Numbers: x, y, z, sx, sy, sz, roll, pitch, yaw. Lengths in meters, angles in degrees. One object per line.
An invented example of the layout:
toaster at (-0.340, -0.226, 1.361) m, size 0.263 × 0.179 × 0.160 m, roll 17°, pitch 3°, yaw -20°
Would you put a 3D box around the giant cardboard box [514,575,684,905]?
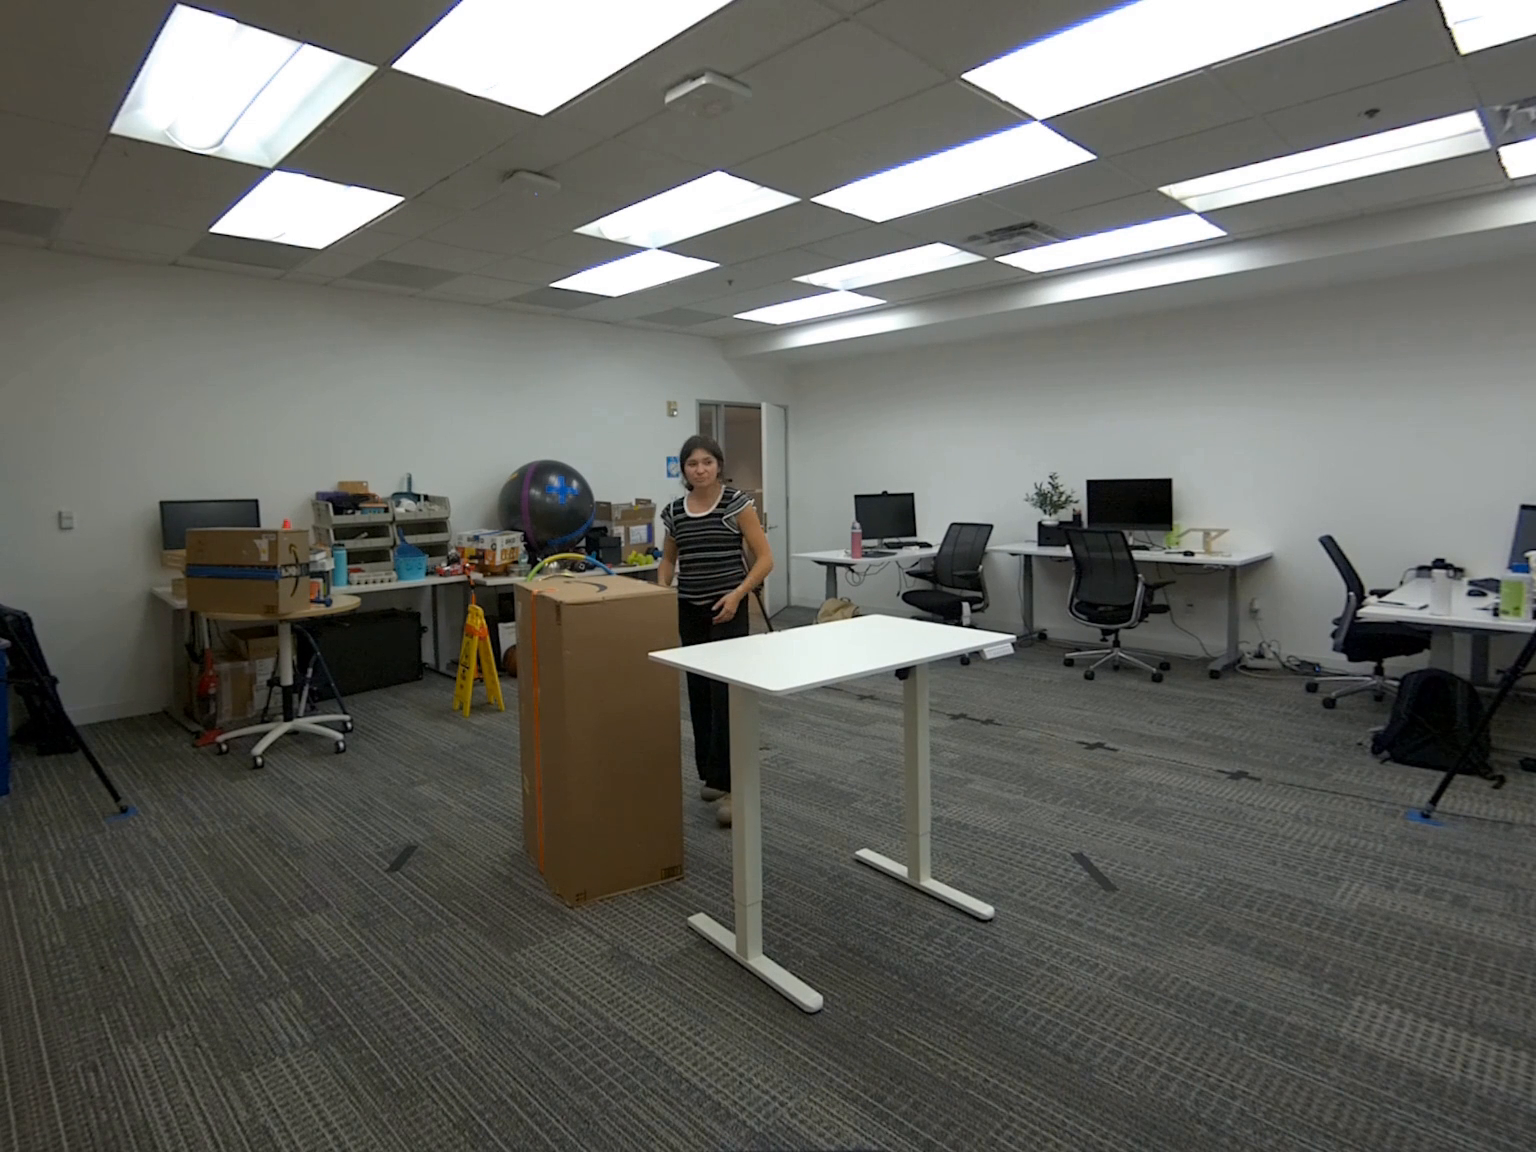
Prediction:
giant cardboard box at (-0.630, 0.544, 3.111) m, size 0.416 × 1.022 × 0.593 m, roll -3°, pitch 5°, yaw -30°
